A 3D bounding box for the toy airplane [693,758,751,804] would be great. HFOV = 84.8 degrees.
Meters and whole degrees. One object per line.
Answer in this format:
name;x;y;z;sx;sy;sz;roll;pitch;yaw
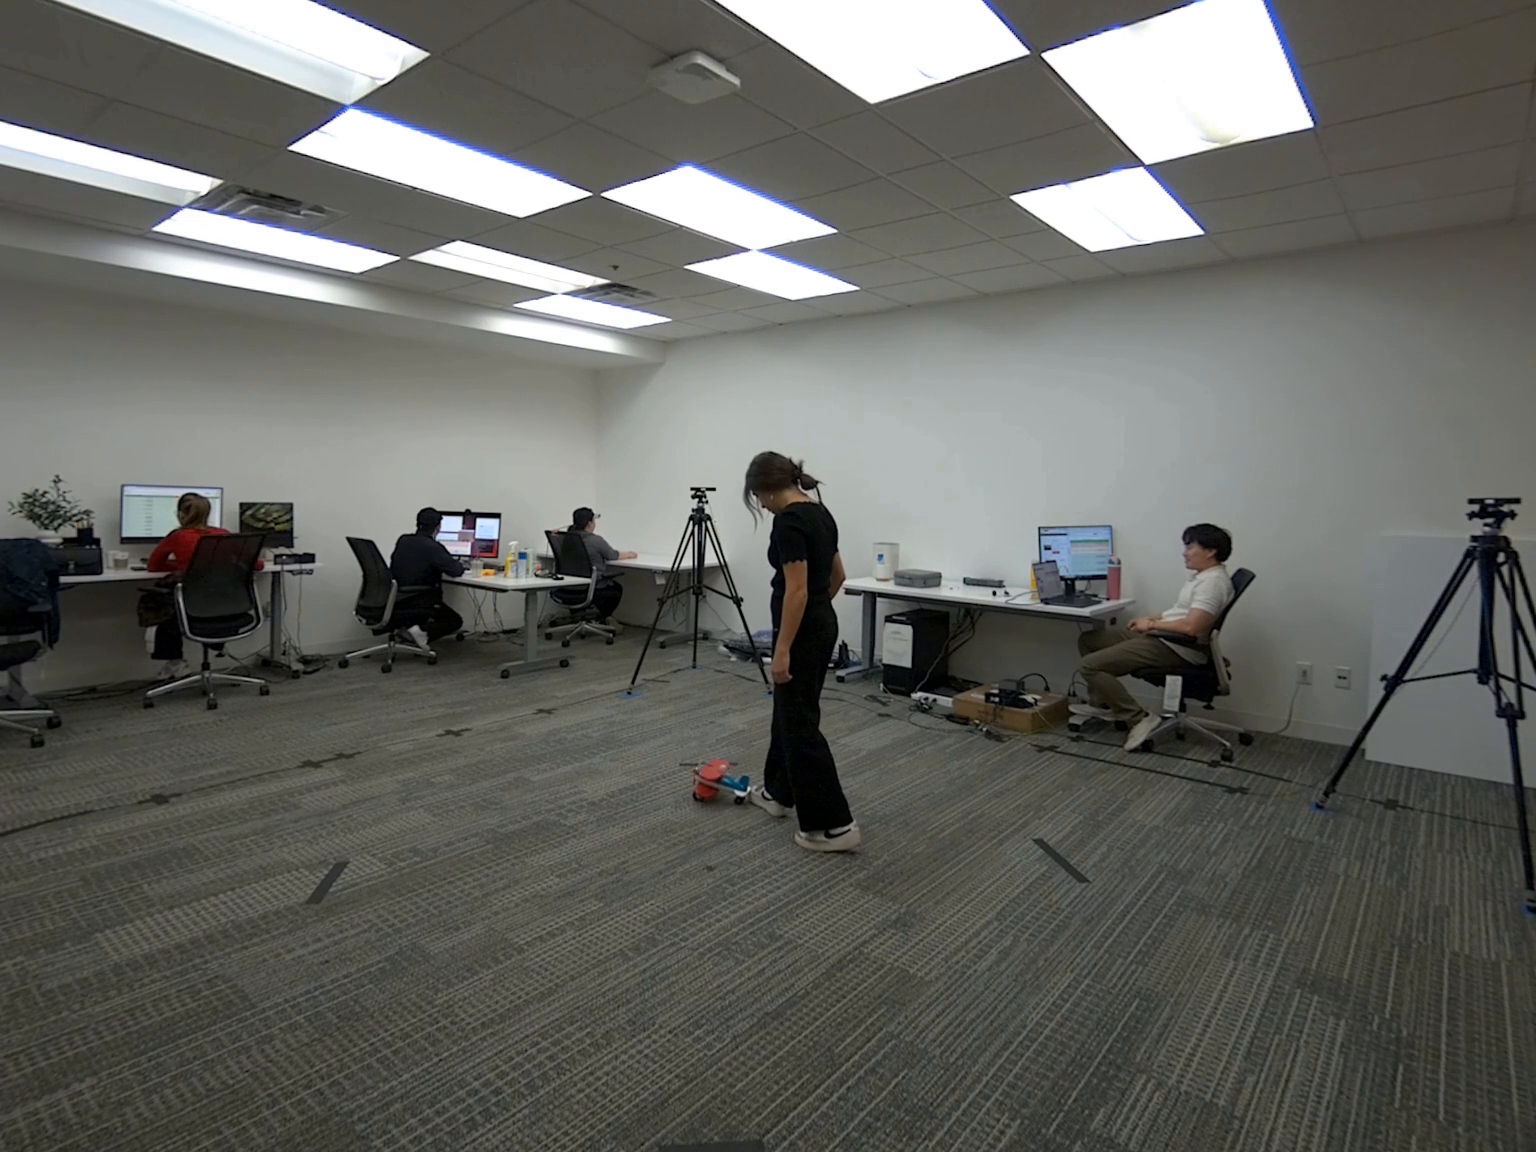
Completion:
toy airplane;-0.215;0.921;3.813;0.256;0.156;0.255;-1;5;-10
